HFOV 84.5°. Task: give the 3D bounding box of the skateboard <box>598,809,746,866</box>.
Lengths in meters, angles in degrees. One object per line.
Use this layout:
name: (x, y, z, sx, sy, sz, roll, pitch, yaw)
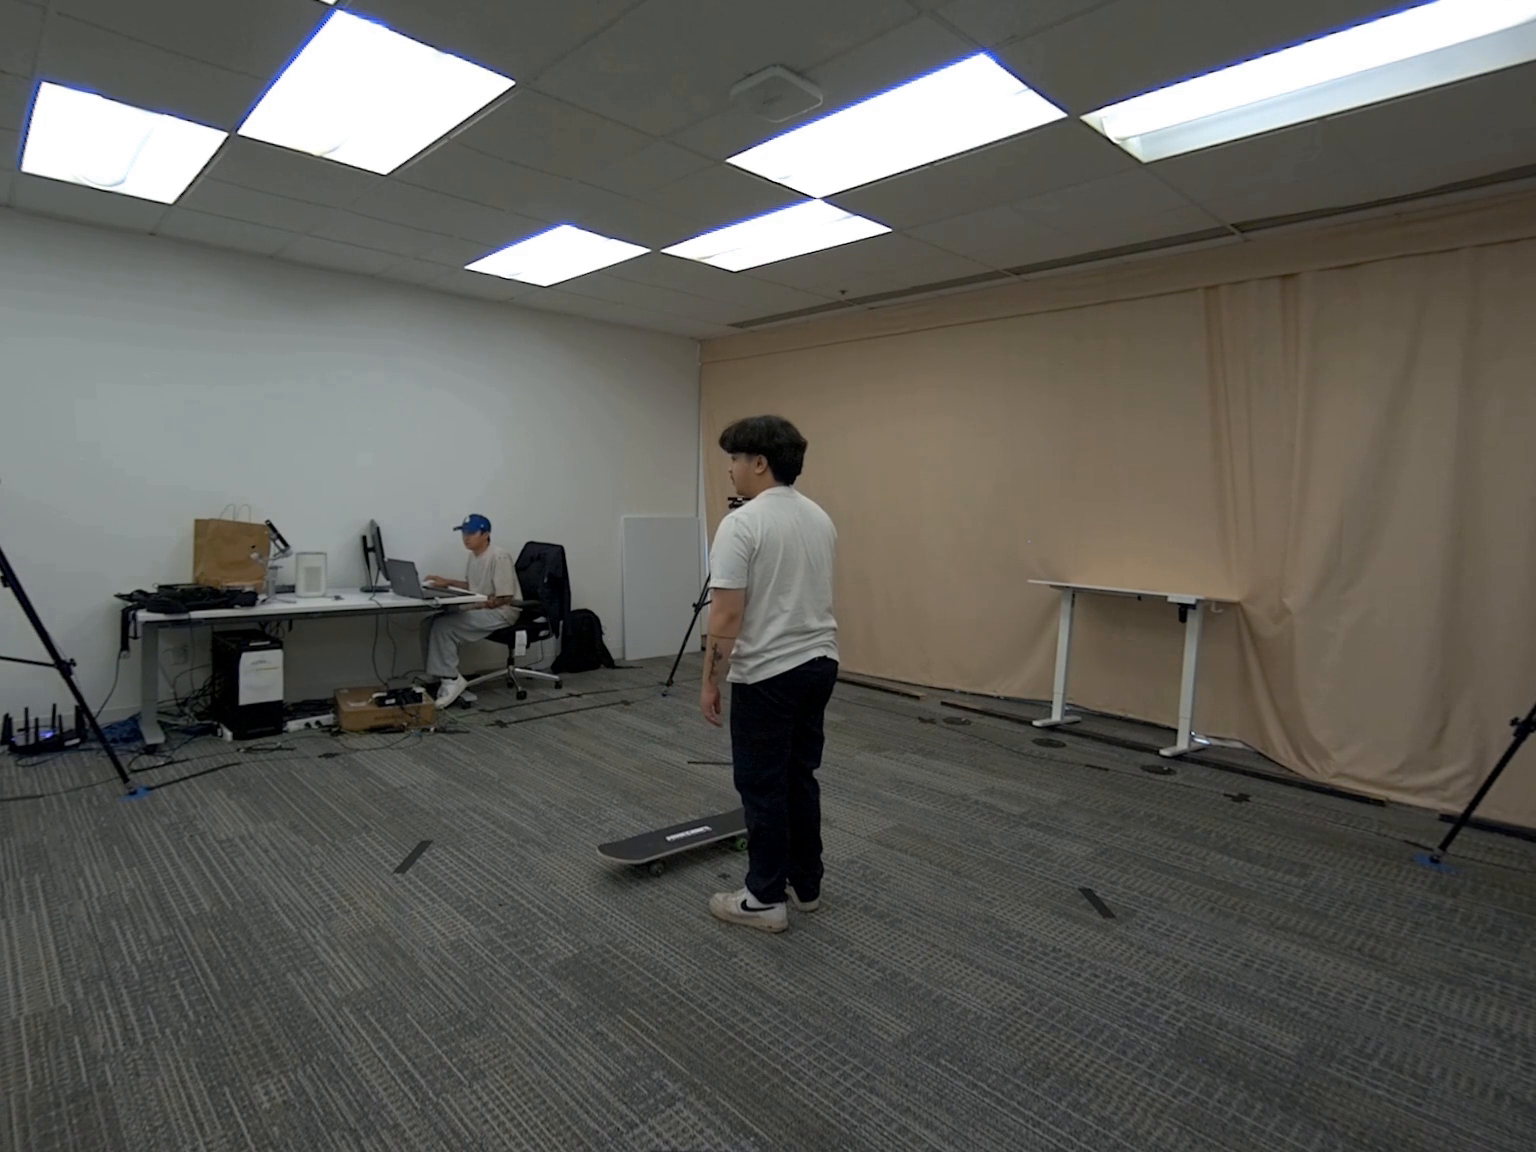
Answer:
skateboard: (-0.315, 1.029, 3.270, 0.767, 0.110, 0.198, -2, 6, -40)
